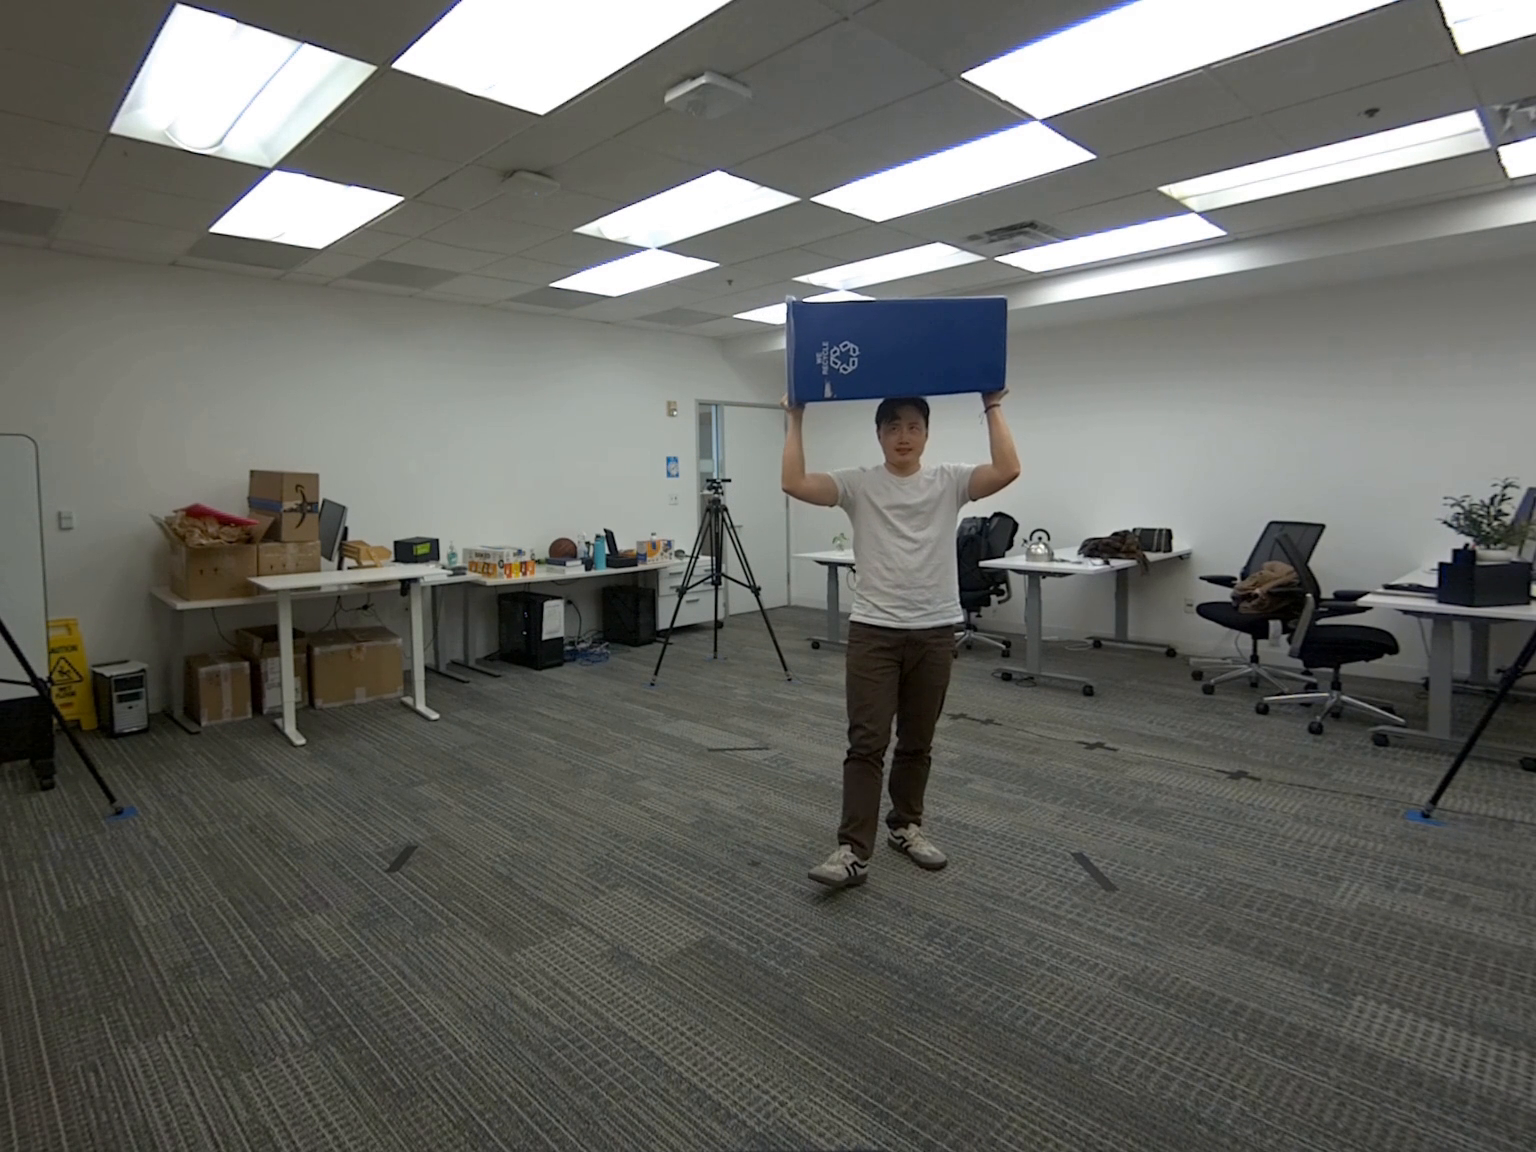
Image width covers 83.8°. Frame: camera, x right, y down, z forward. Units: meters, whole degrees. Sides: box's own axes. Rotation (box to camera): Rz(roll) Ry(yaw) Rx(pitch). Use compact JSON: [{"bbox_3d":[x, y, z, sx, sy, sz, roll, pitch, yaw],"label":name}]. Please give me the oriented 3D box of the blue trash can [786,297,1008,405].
[{"bbox_3d":[0.426,-0.797,2.936,0.718,0.373,0.376,-1,14,7],"label":"blue trash can"}]
